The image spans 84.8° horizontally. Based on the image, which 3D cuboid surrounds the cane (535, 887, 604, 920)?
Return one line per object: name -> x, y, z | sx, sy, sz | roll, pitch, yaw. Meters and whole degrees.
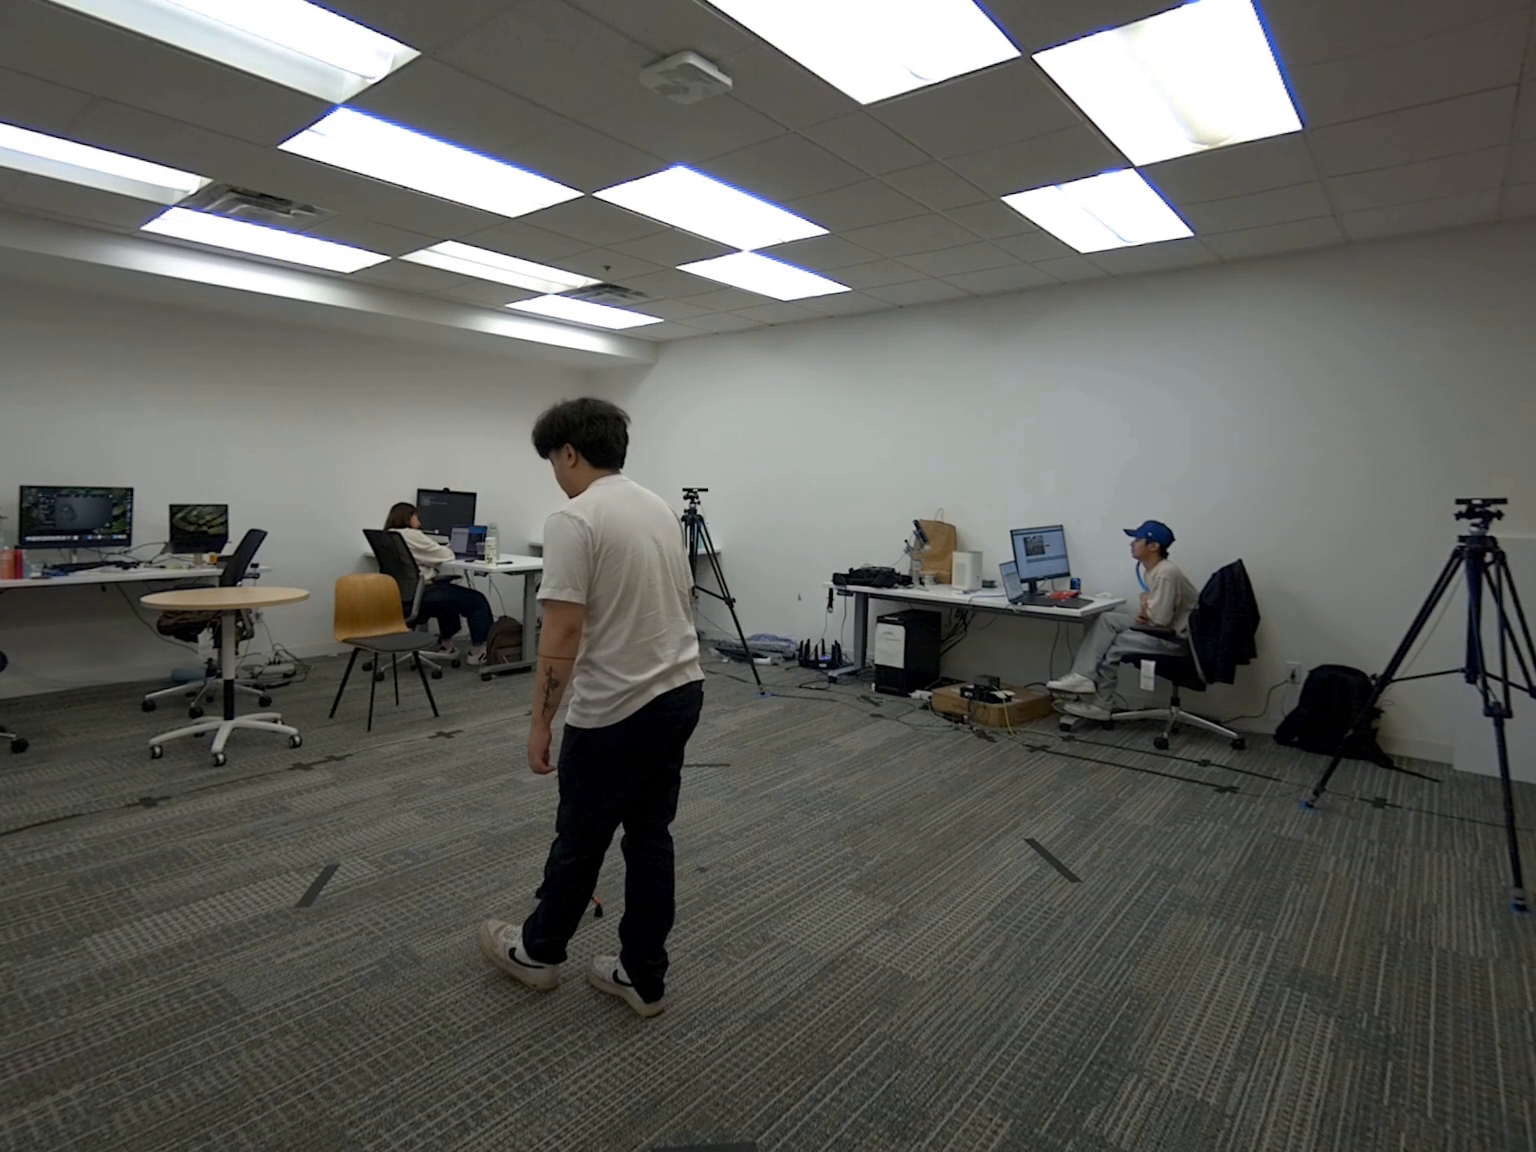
cane -> -0.596, 0.636, 2.717 | 0.147, 0.903, 0.214 | 1, 10, -45
